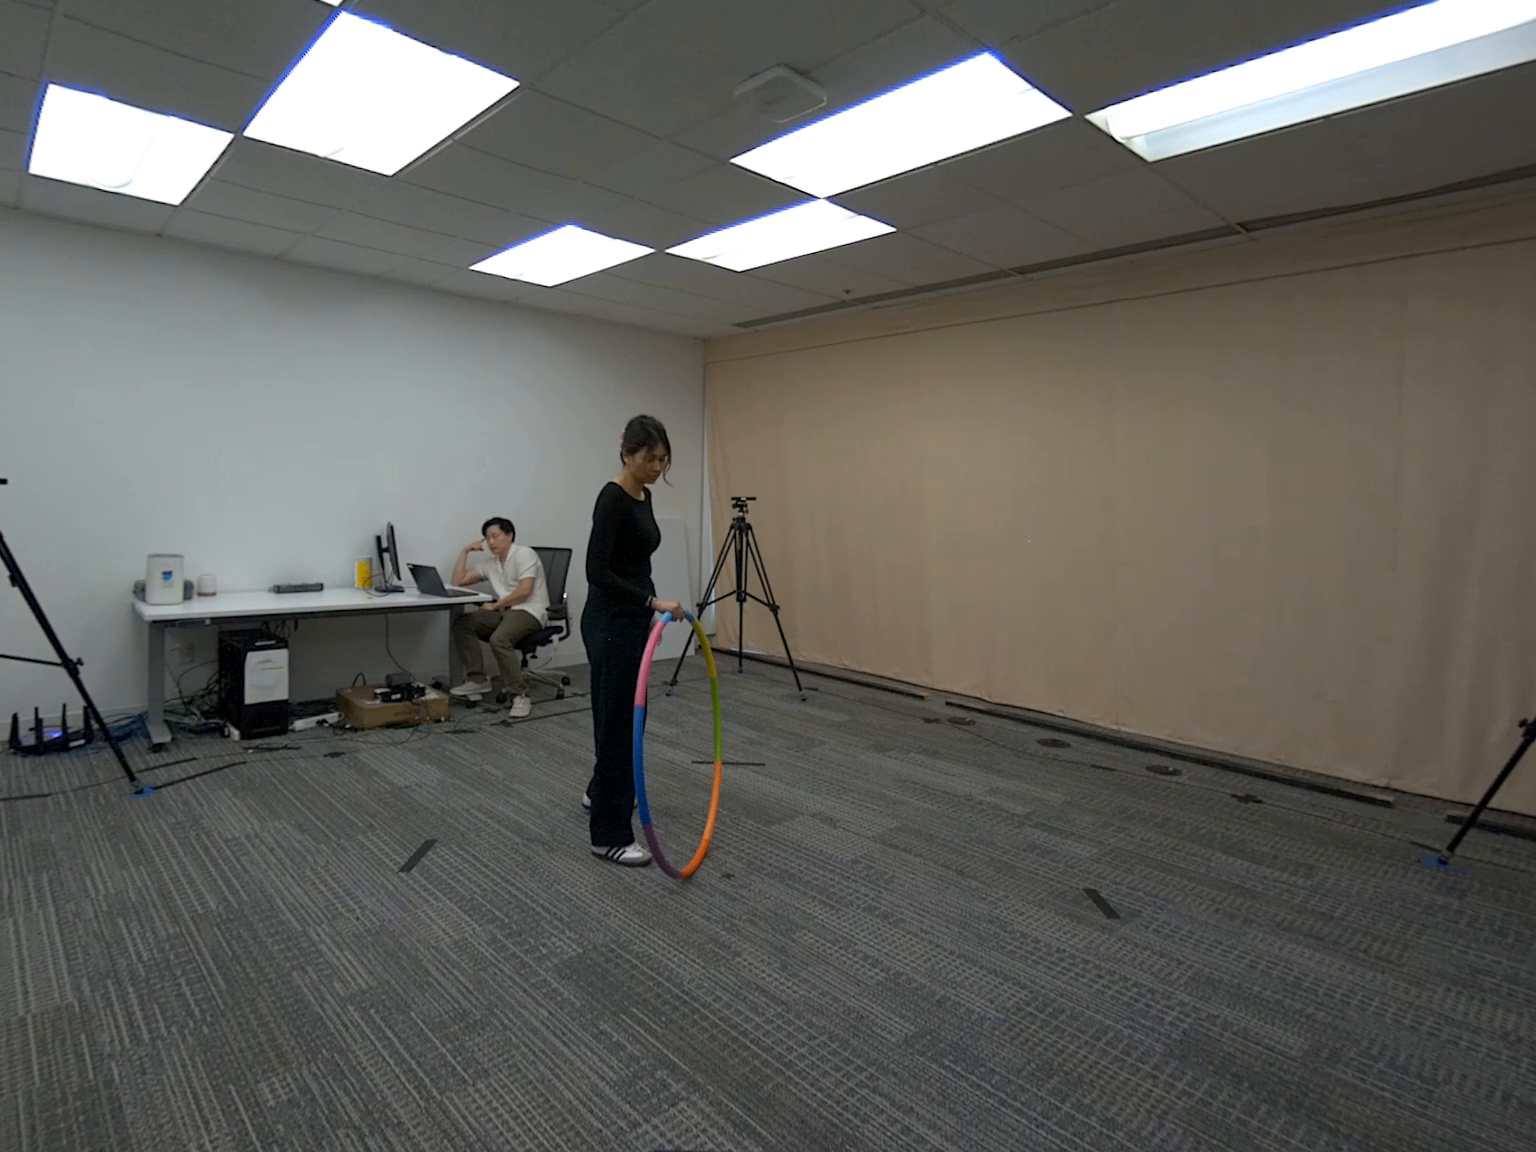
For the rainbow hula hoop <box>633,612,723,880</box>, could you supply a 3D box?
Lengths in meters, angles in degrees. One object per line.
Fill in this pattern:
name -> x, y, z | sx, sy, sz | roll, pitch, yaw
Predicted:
rainbow hula hoop -> -0.322, 0.614, 3.161 | 0.036, 0.977, 0.971 | -3, 3, 11
